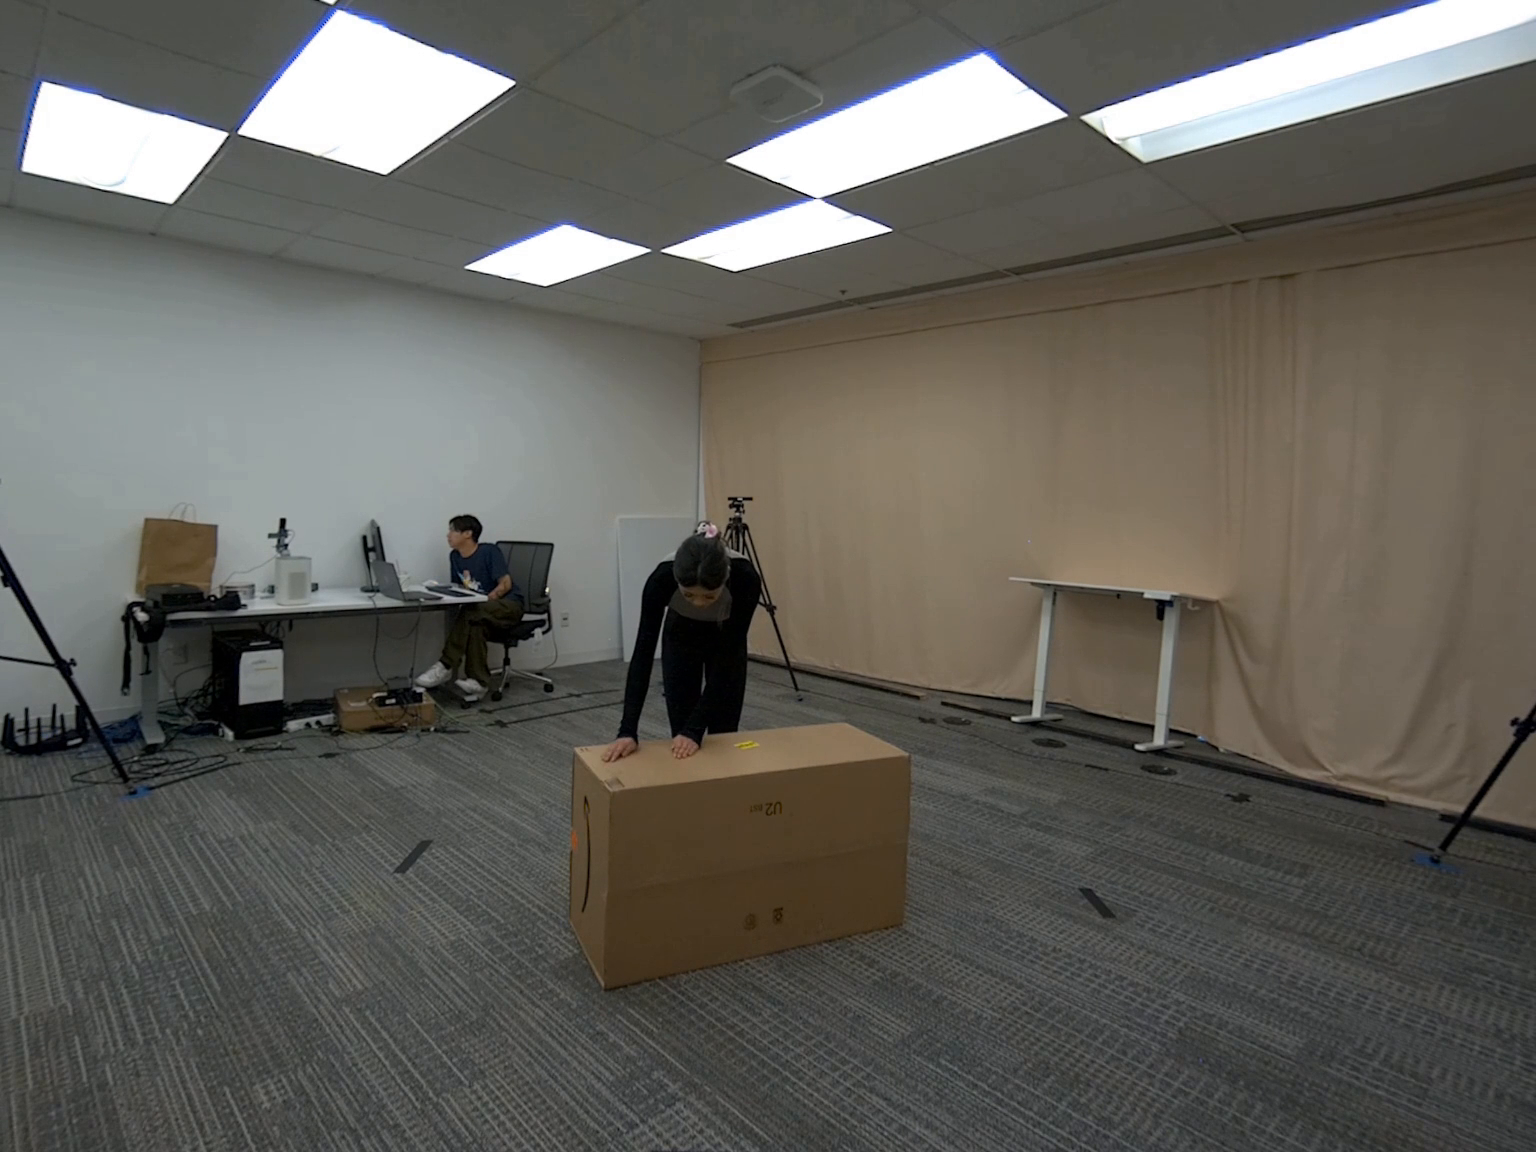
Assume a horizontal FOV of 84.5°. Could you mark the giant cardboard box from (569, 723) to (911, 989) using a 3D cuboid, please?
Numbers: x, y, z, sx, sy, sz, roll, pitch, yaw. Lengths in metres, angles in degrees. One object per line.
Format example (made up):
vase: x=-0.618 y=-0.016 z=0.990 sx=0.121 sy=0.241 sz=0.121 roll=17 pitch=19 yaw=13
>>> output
giant cardboard box: x=-0.092 y=0.853 z=2.740 sx=1.008 sy=0.576 sz=0.435 roll=0 pitch=4 yaw=-24
